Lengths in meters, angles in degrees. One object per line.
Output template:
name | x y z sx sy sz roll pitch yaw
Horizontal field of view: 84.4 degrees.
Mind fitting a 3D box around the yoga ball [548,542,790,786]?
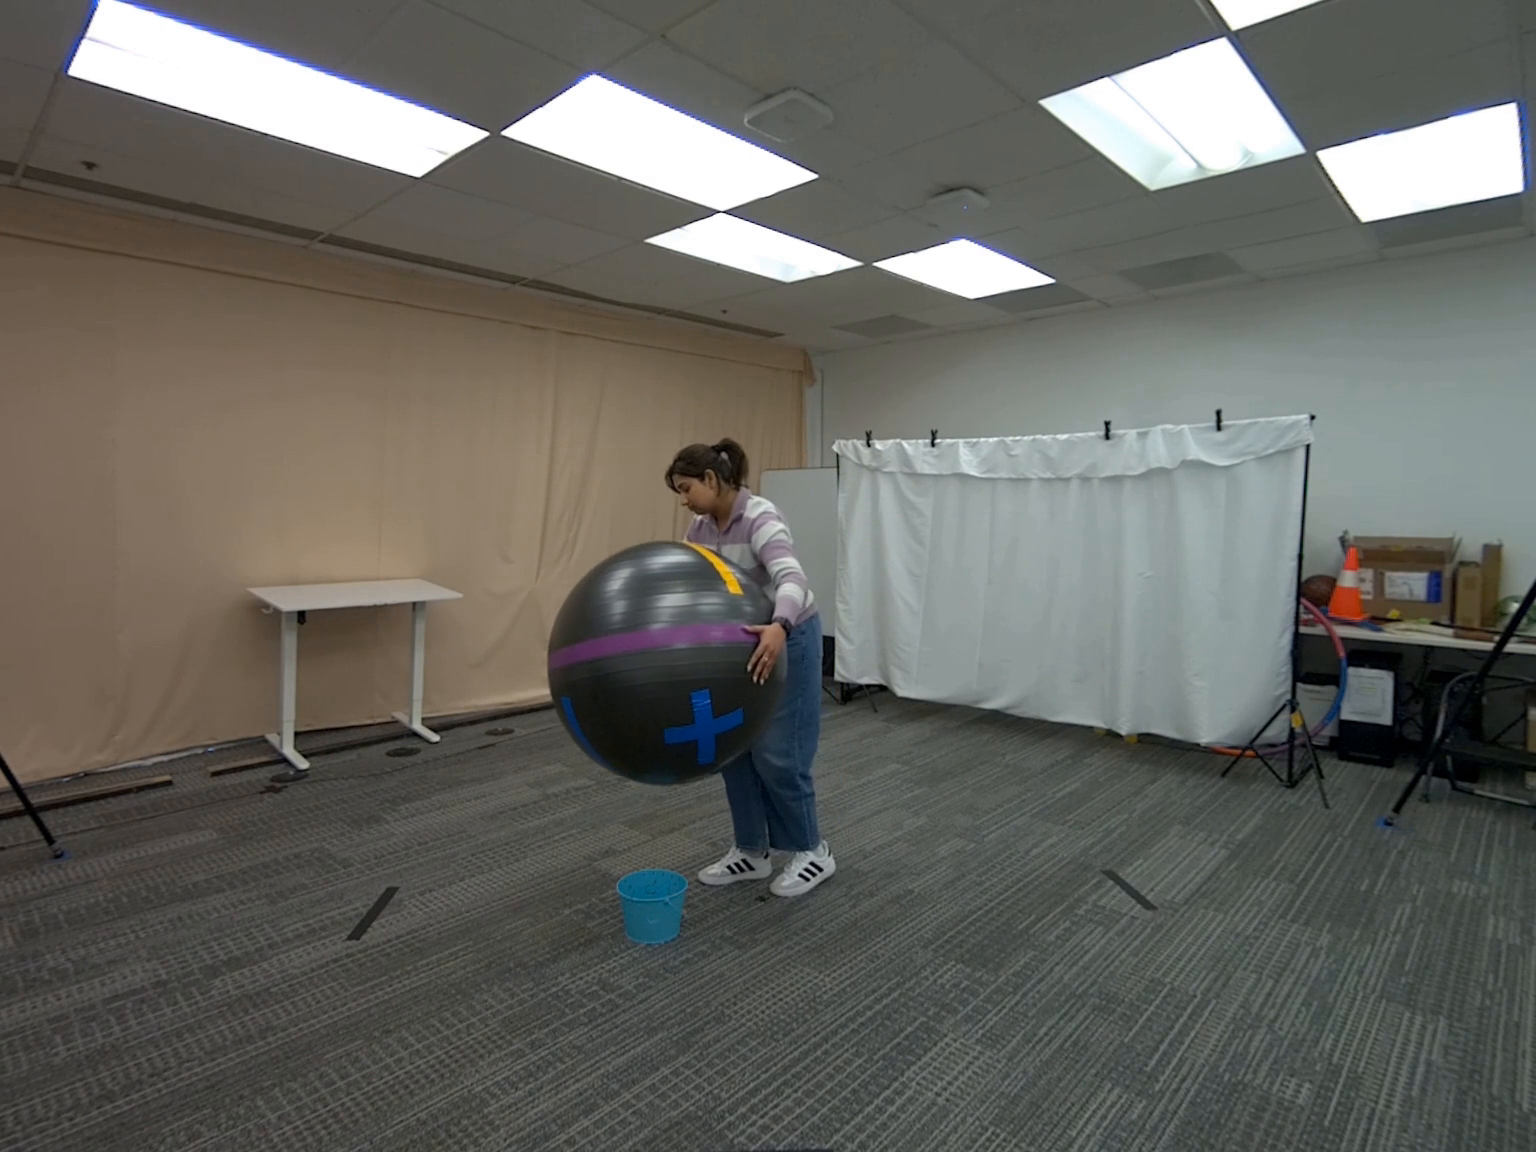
yoga ball | -0.320 0.273 2.667 0.757 0.756 0.761 0 4 -2
